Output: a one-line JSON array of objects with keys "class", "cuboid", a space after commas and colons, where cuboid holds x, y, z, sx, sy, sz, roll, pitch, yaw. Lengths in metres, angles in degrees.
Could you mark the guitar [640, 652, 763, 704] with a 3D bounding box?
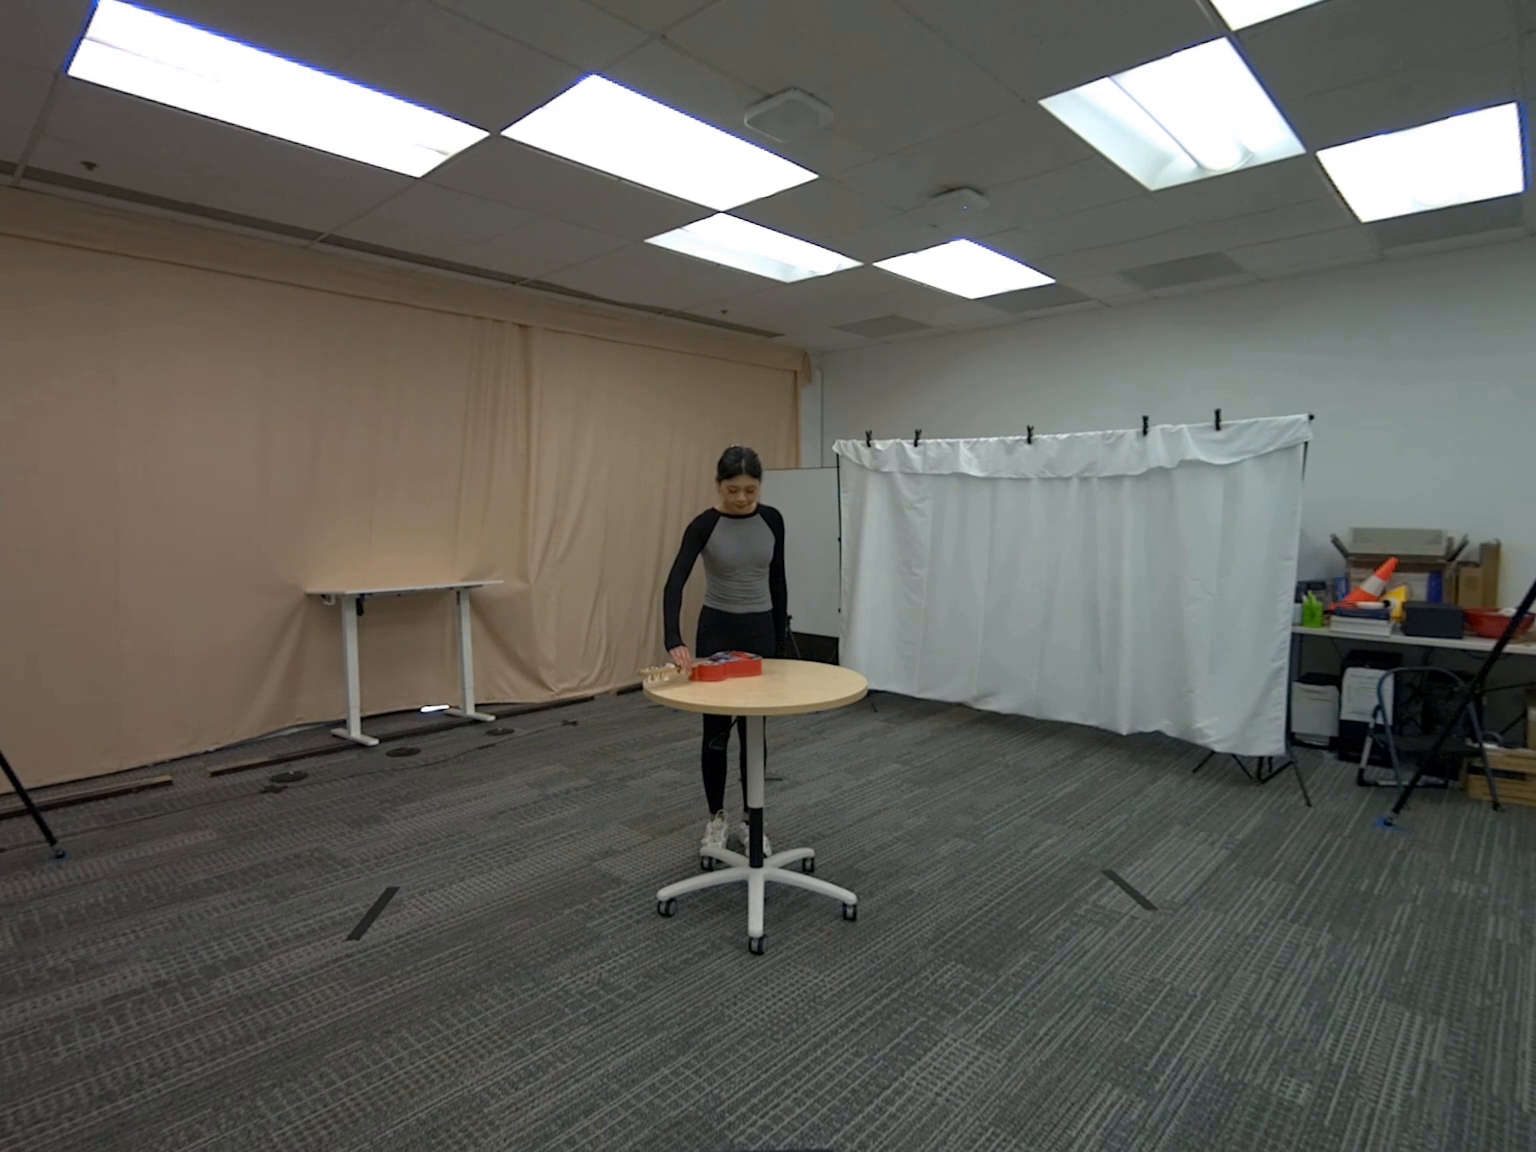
[{"class": "guitar", "cuboid": [-0.259, 0.327, 2.946, 0.484, 0.070, 0.199, -5, 5, -33]}]
